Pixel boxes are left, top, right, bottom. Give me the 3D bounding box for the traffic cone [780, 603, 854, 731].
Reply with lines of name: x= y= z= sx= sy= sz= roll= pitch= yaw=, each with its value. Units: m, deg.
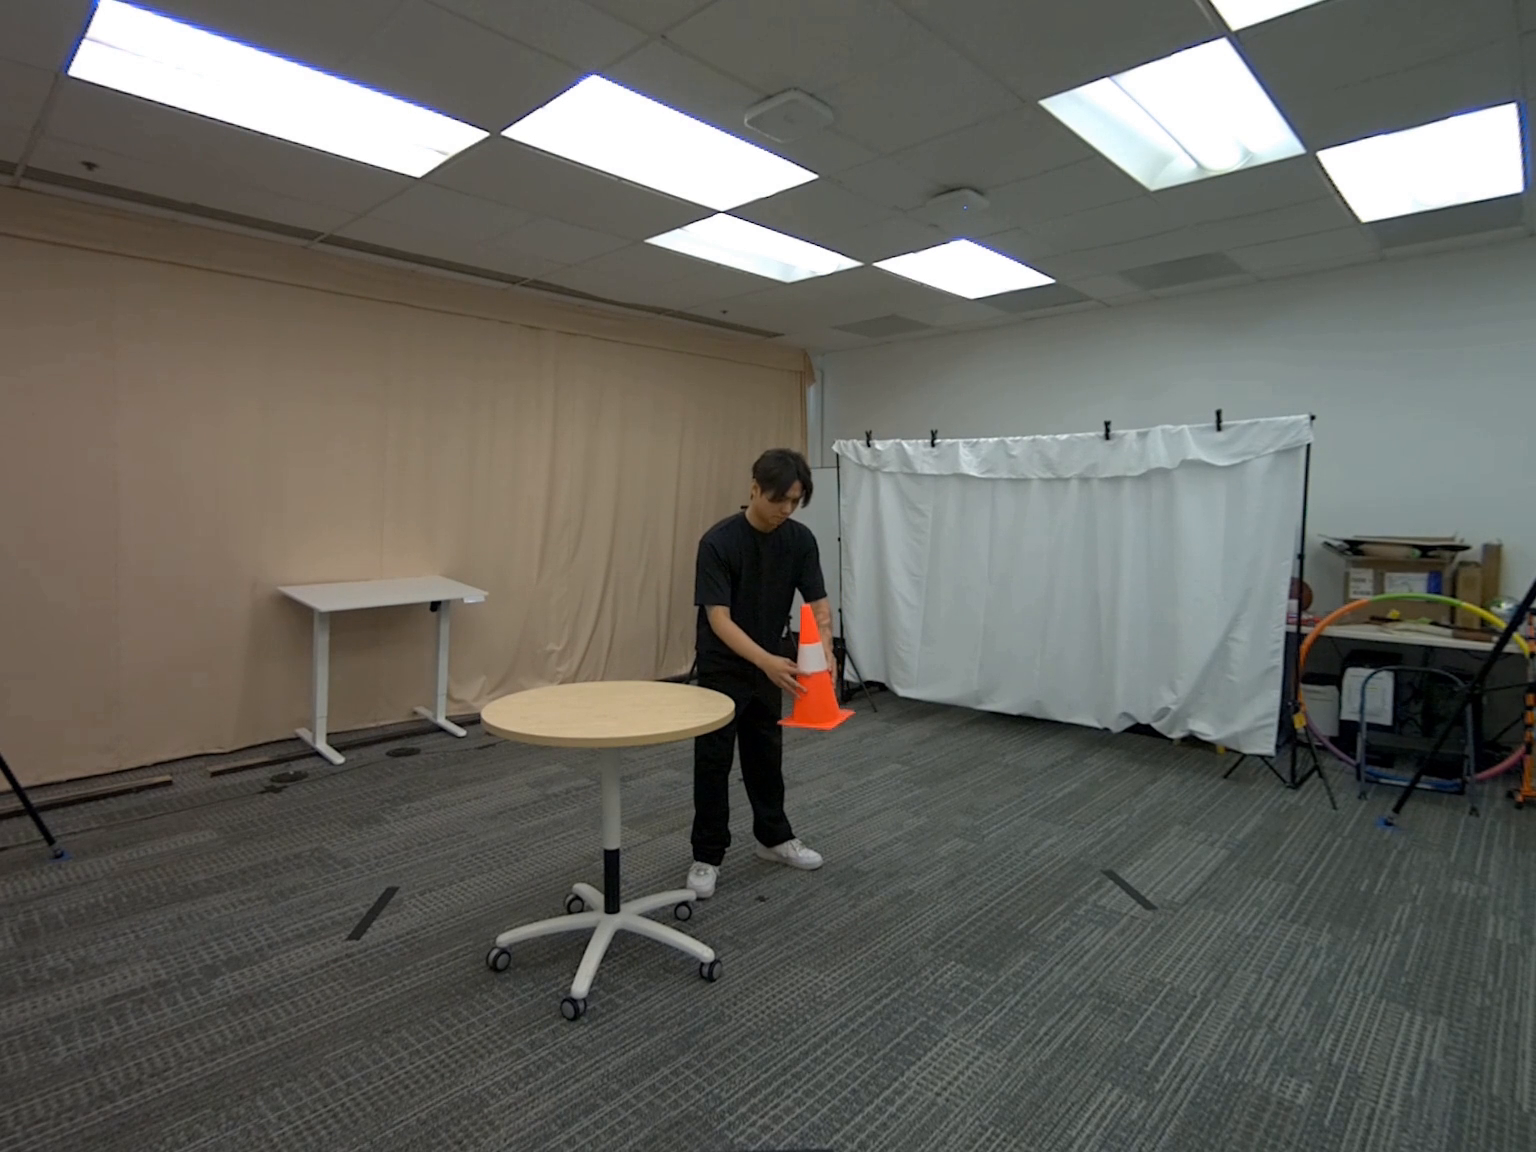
traffic cone: x=0.146 y=0.286 z=2.770 sx=0.211 sy=0.383 sz=0.198 roll=-1 pitch=4 yaw=31
